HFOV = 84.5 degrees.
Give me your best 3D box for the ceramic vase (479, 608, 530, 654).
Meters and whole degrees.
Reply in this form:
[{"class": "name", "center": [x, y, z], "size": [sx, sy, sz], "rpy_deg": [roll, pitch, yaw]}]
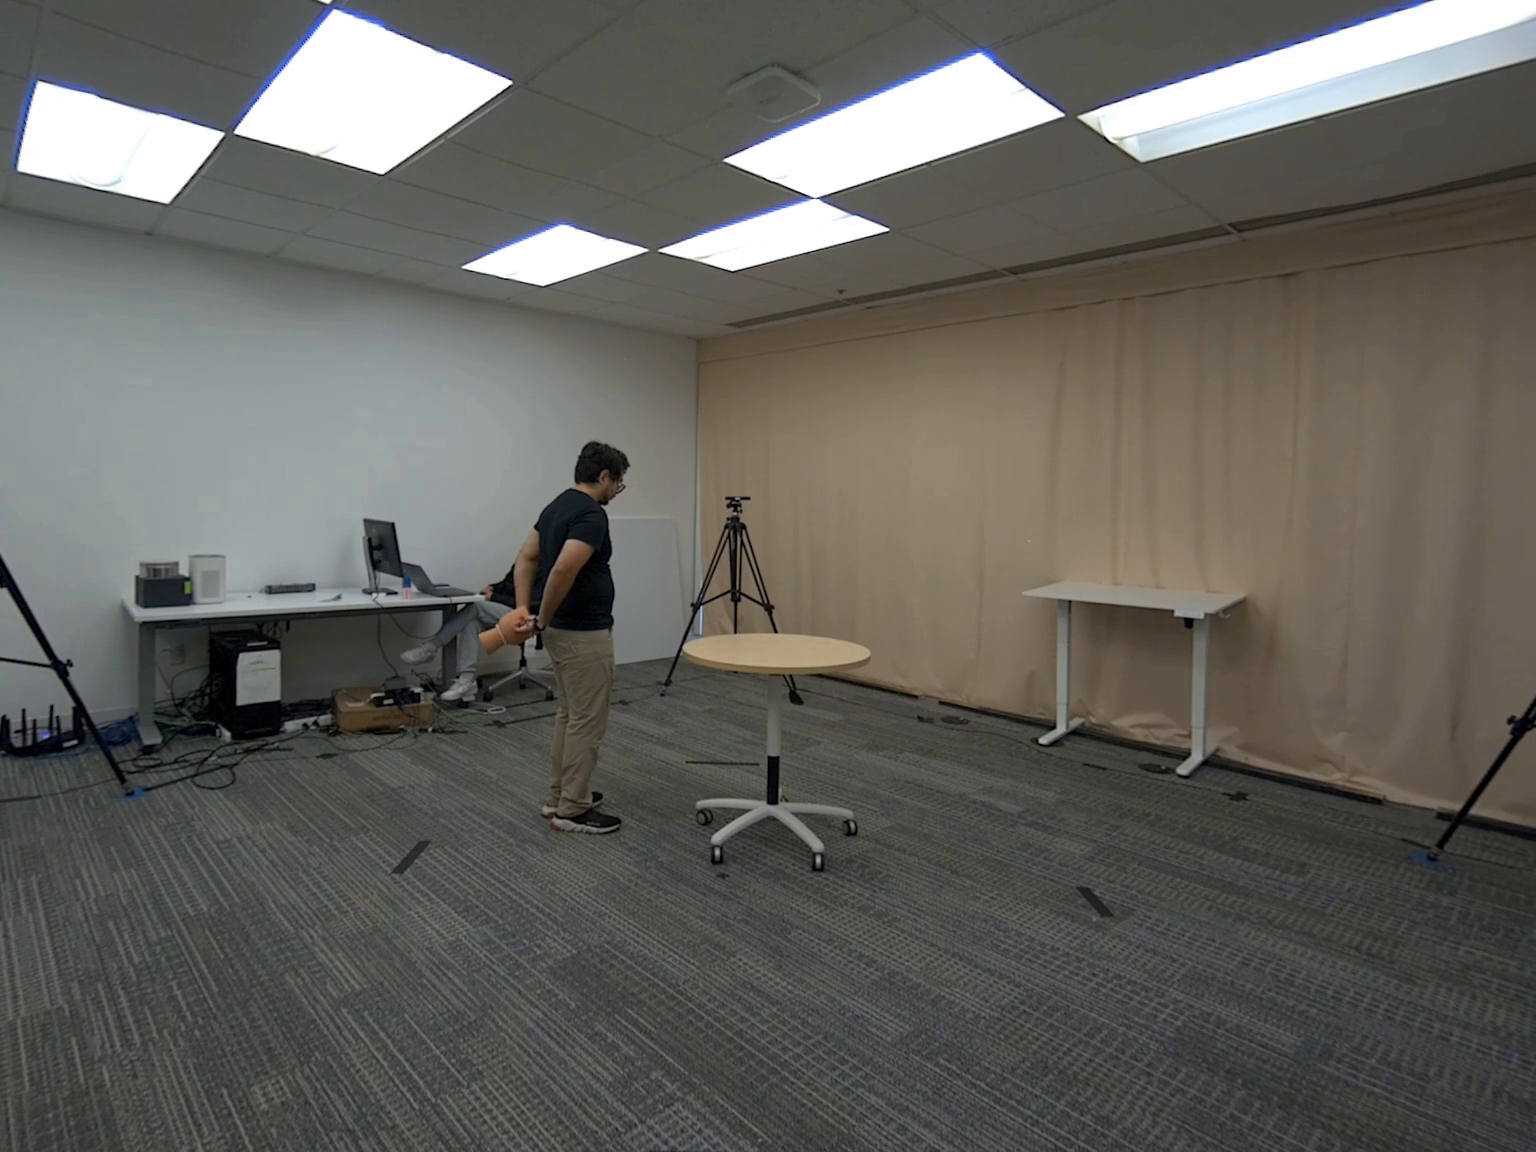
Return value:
[{"class": "ceramic vase", "center": [-1.080, 0.227, 3.474], "size": [0.219, 0.154, 0.139], "rpy_deg": [-29, 46, -11]}]
